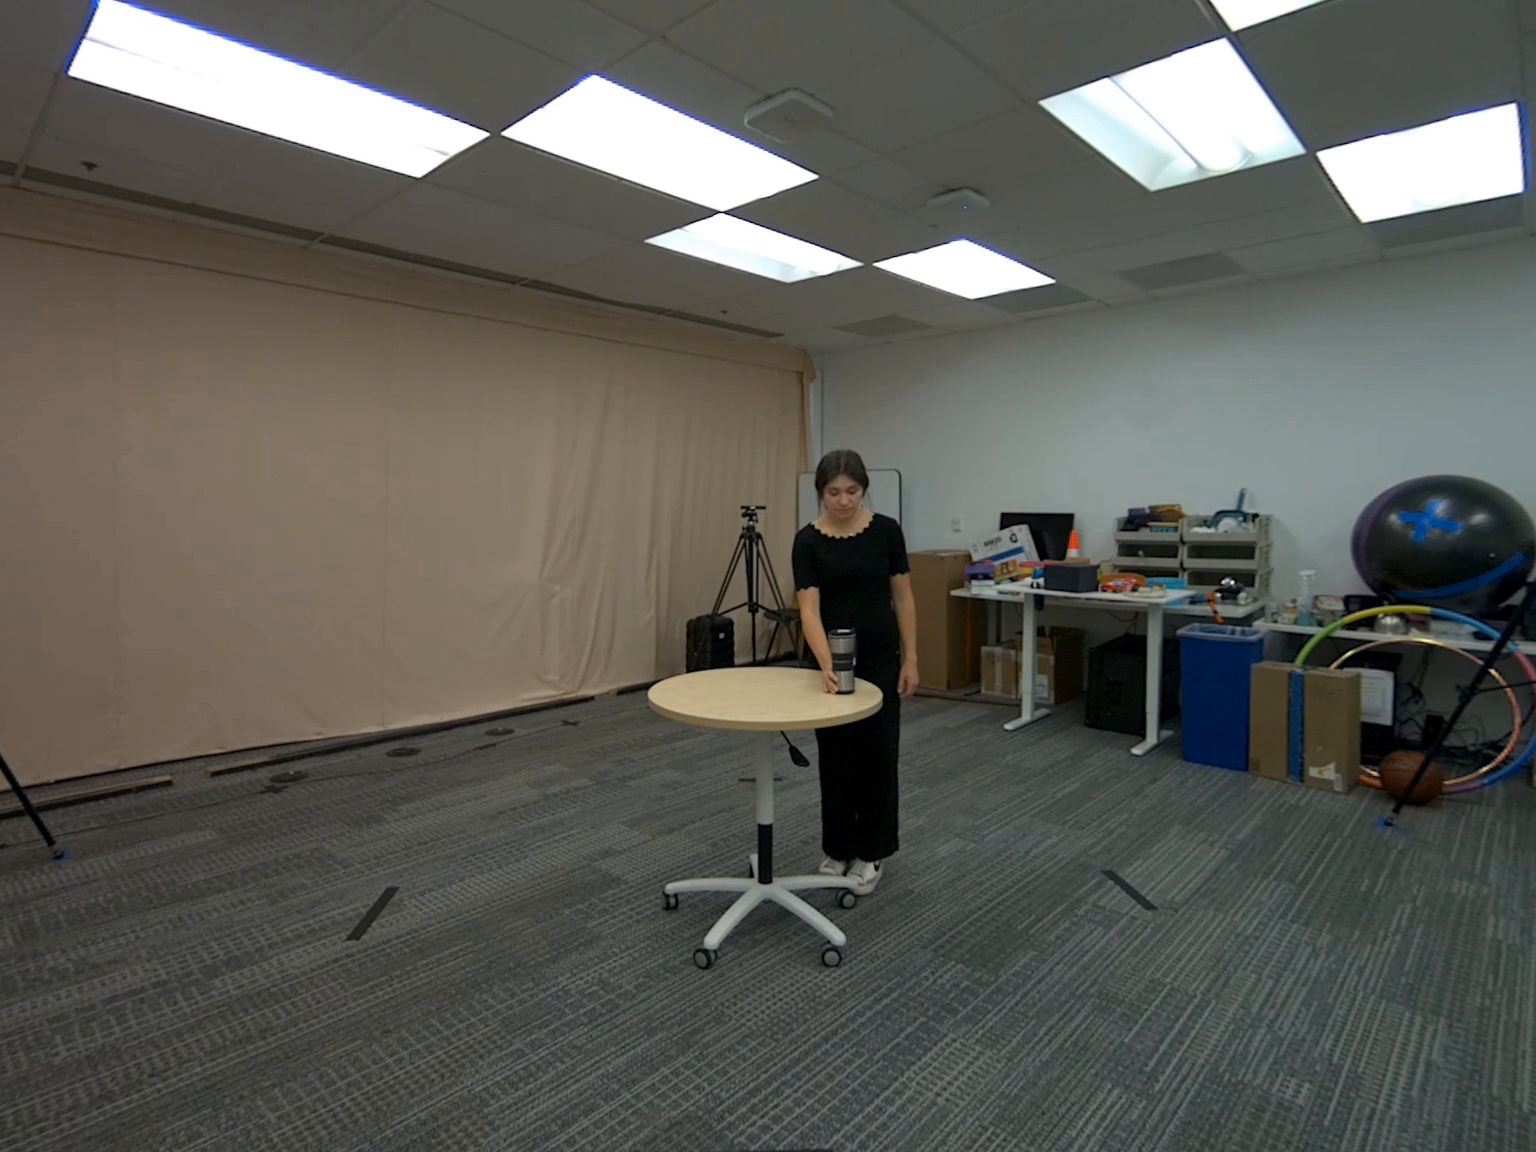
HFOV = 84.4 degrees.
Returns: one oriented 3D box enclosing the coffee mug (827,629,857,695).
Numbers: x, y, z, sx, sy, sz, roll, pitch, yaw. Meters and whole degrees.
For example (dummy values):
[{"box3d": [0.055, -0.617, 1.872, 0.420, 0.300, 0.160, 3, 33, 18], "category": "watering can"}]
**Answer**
[{"box3d": [0.268, 0.277, 2.745, 0.119, 0.203, 0.090, -5, -2, -27], "category": "coffee mug"}]
